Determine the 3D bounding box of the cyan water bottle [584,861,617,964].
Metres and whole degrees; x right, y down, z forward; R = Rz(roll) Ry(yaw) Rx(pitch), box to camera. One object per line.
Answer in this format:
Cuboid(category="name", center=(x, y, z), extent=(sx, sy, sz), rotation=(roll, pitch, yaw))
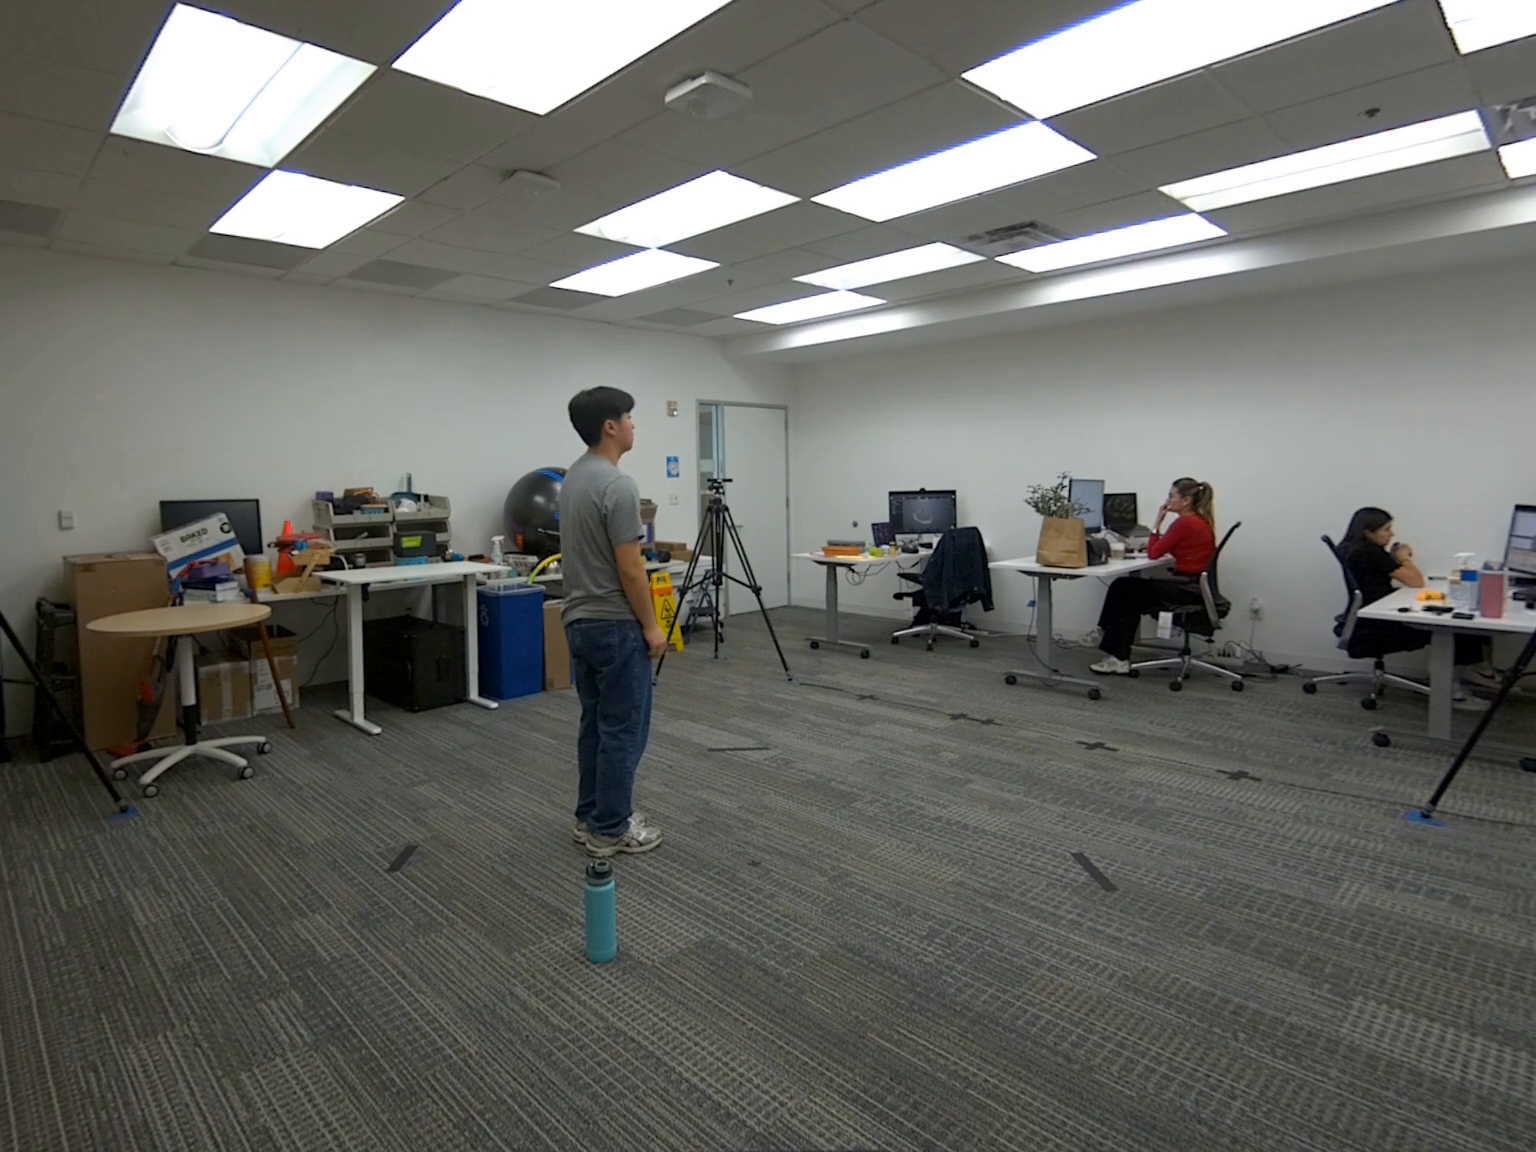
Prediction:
Cuboid(category="cyan water bottle", center=(-0.487, 0.985, 2.518), extent=(0.092, 0.283, 0.092), rotation=(-1, 2, -2))
